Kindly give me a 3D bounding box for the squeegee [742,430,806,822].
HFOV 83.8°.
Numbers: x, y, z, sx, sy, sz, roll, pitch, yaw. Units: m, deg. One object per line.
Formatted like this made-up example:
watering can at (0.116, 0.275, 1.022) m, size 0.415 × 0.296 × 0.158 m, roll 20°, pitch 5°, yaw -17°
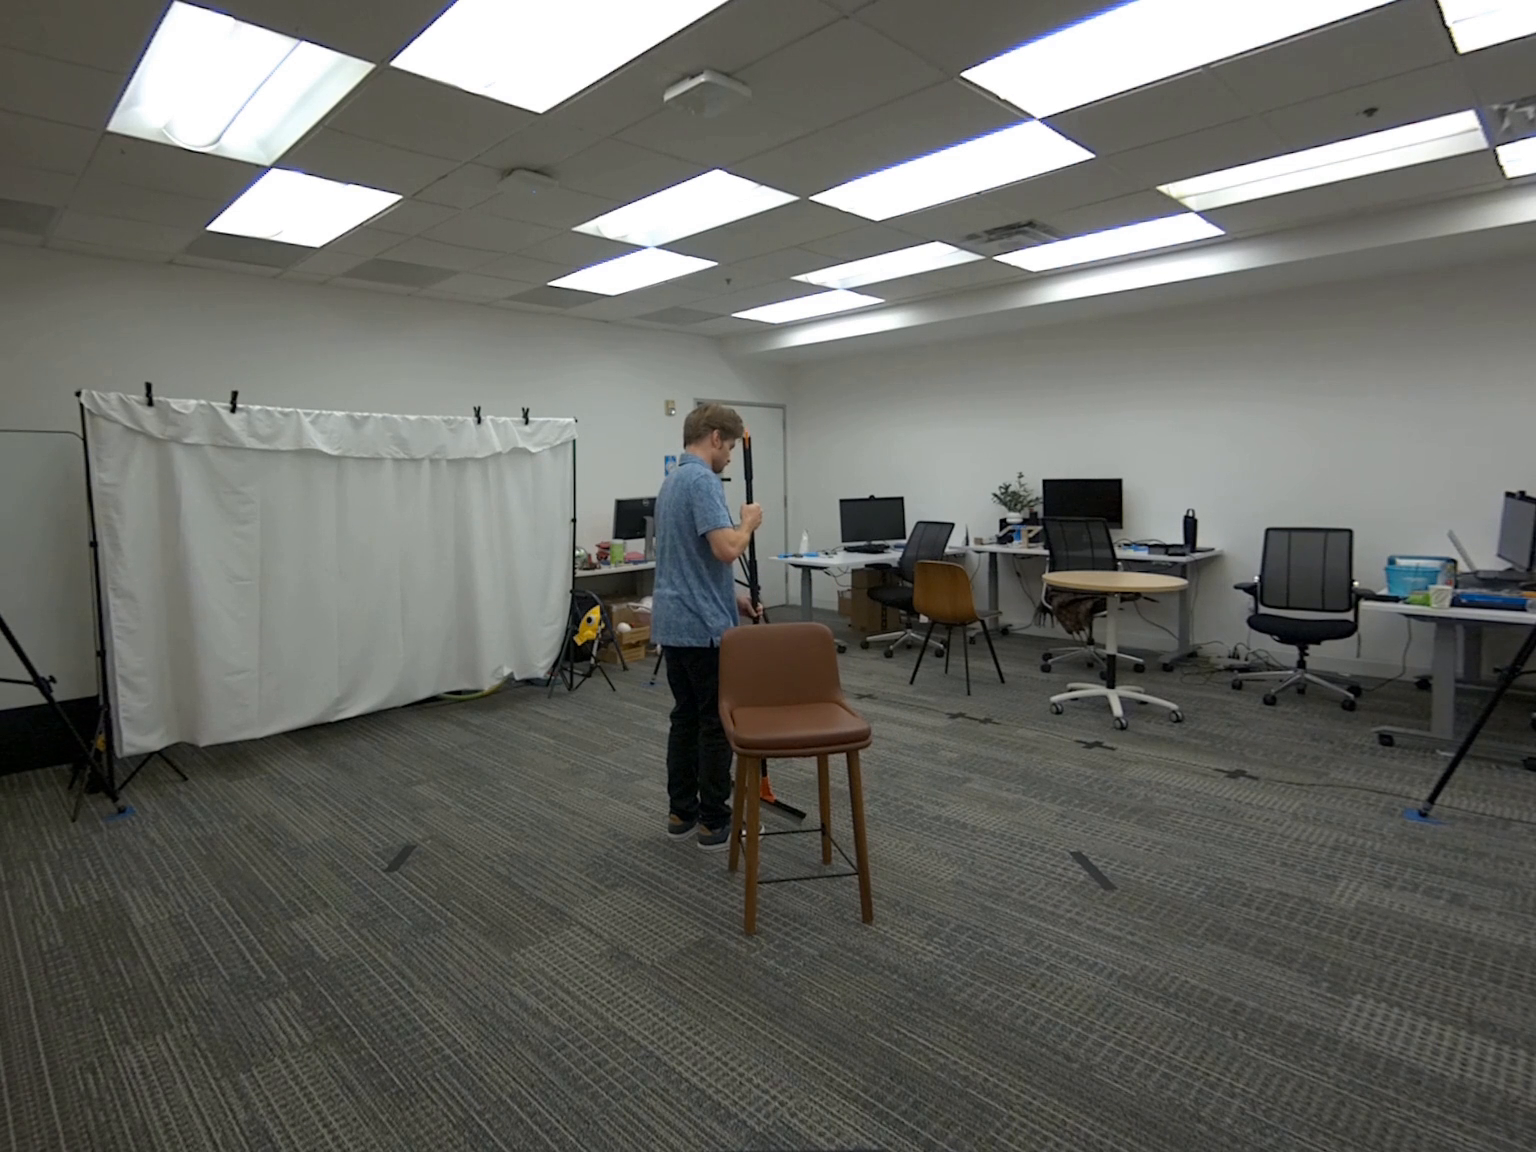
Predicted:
squeegee at (-0.031, 0.194, 3.419) m, size 0.051 × 1.529 × 0.451 m, roll -6°, pitch 7°, yaw -38°
